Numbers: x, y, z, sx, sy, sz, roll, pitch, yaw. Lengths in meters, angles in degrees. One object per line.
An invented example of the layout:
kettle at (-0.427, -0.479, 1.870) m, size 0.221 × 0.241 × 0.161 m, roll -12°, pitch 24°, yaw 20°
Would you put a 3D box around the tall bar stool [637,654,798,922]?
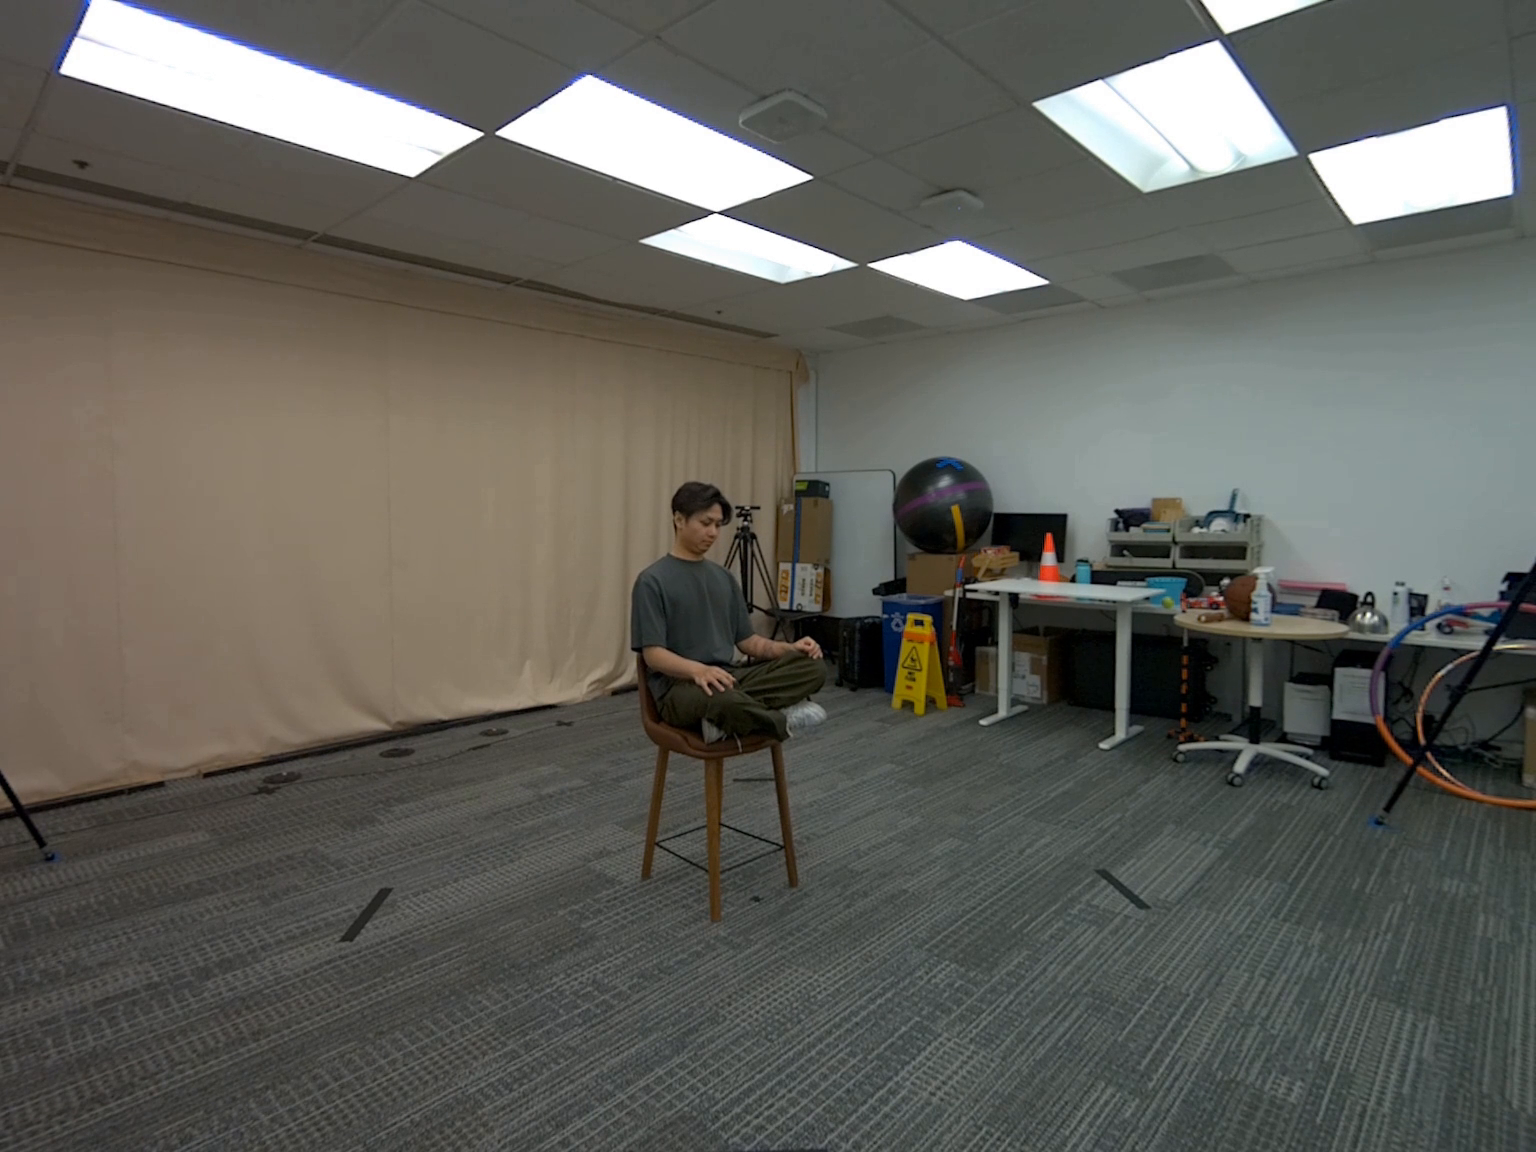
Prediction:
tall bar stool at (-0.197, 0.700, 3.101) m, size 0.442 × 0.889 × 0.482 m, roll -4°, pitch 2°, yaw -43°
